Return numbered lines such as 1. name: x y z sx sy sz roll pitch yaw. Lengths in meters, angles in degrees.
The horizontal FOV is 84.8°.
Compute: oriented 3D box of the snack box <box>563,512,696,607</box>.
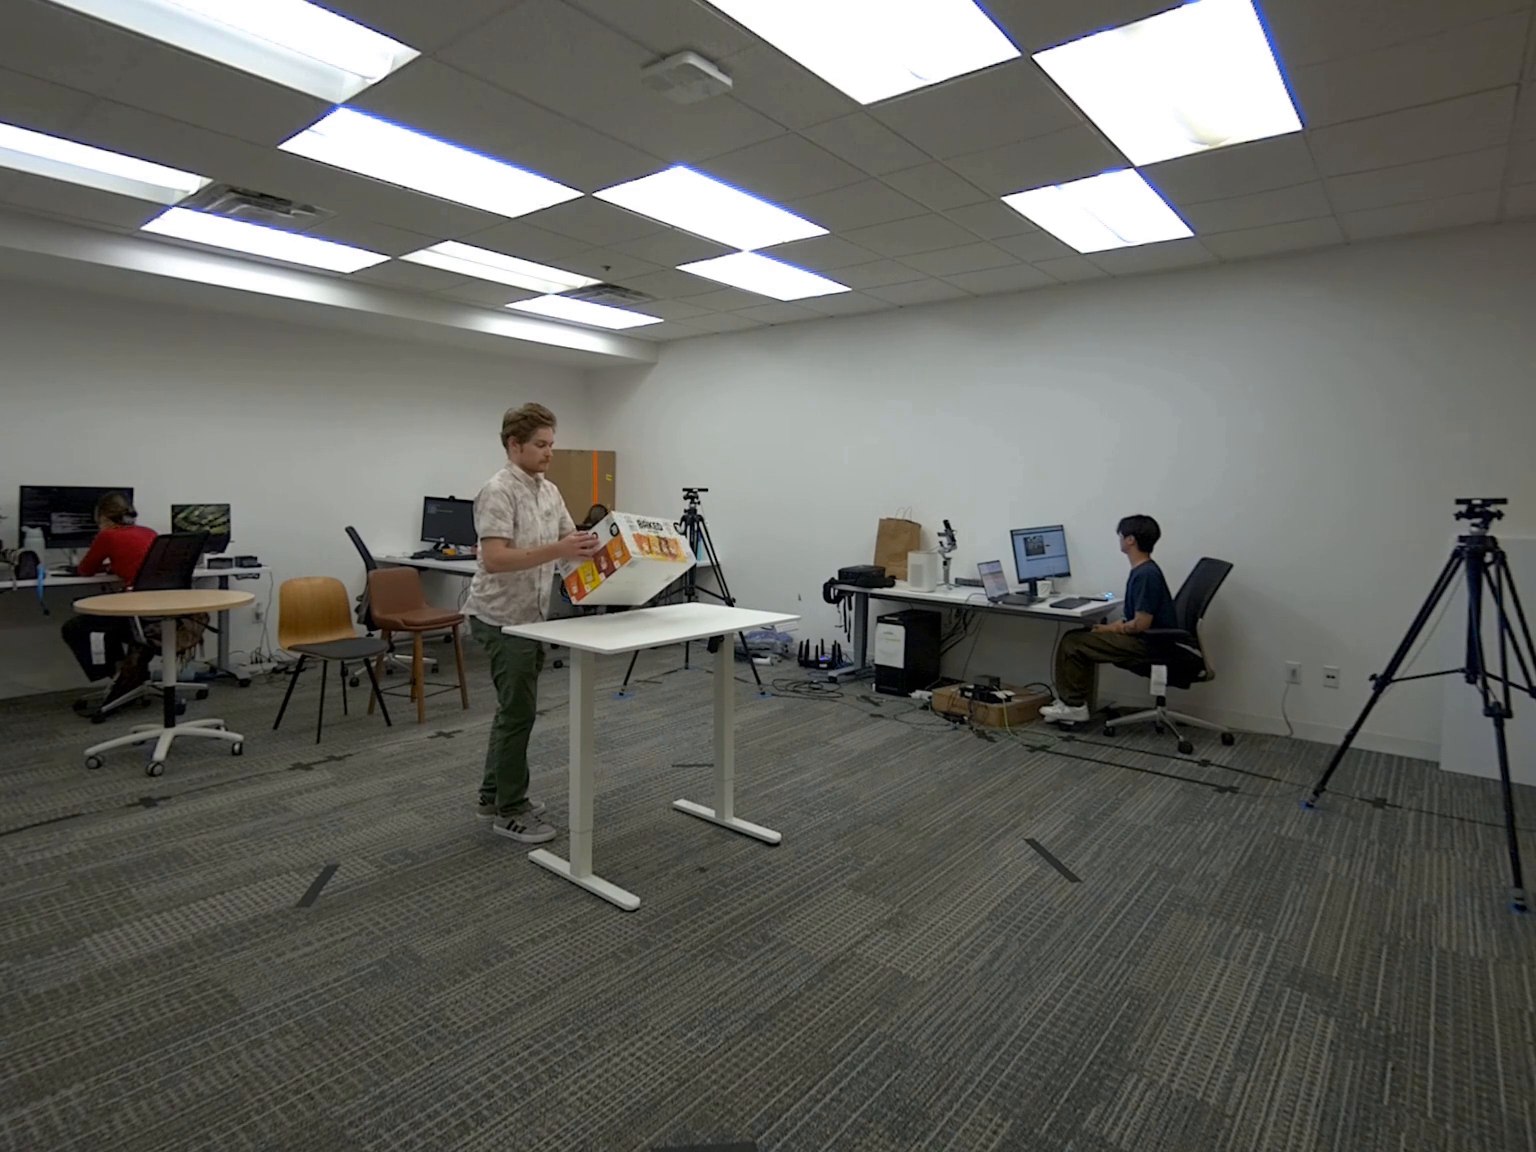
1. snack box: -0.566 -0.057 3.336 0.342 0.211 0.392 -36 -20 26
